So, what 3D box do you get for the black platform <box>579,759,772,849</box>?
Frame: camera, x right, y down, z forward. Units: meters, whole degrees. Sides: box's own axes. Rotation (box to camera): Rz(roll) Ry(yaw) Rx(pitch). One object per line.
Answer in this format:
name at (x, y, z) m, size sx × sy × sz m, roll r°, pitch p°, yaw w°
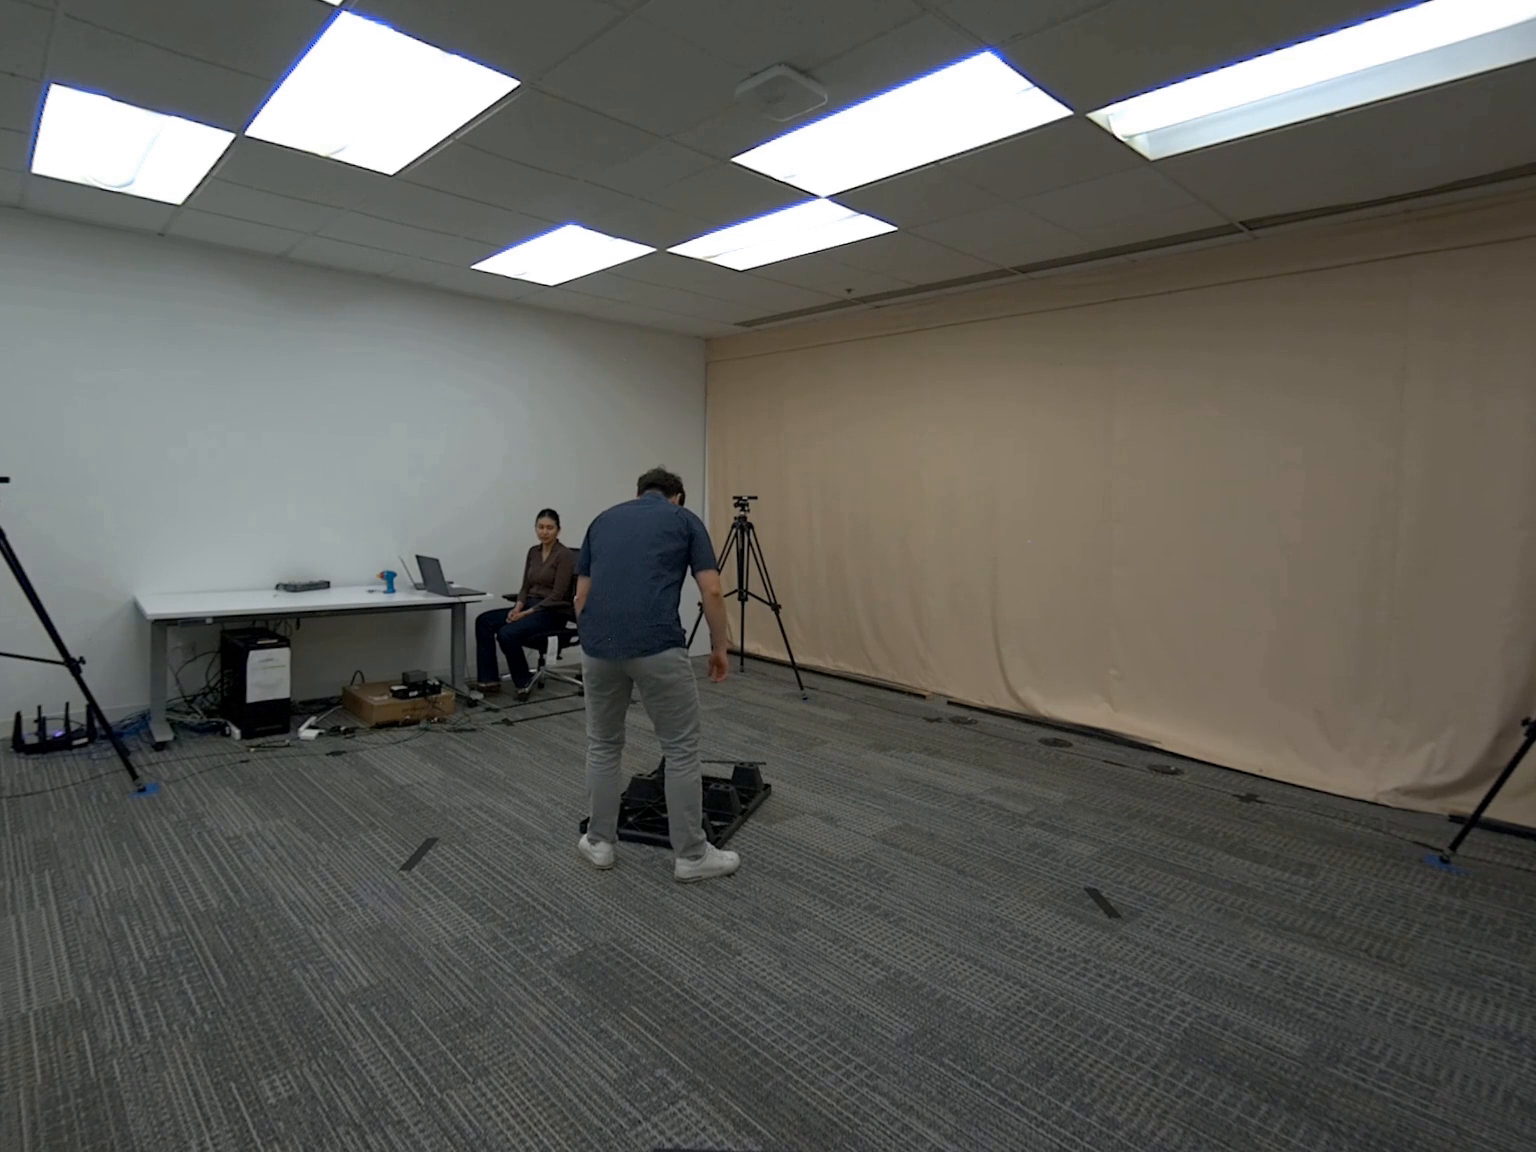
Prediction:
black platform at (-0.392, 0.978, 3.731) m, size 0.614 × 0.143 × 0.796 m, roll 3°, pitch 5°, yaw 17°
